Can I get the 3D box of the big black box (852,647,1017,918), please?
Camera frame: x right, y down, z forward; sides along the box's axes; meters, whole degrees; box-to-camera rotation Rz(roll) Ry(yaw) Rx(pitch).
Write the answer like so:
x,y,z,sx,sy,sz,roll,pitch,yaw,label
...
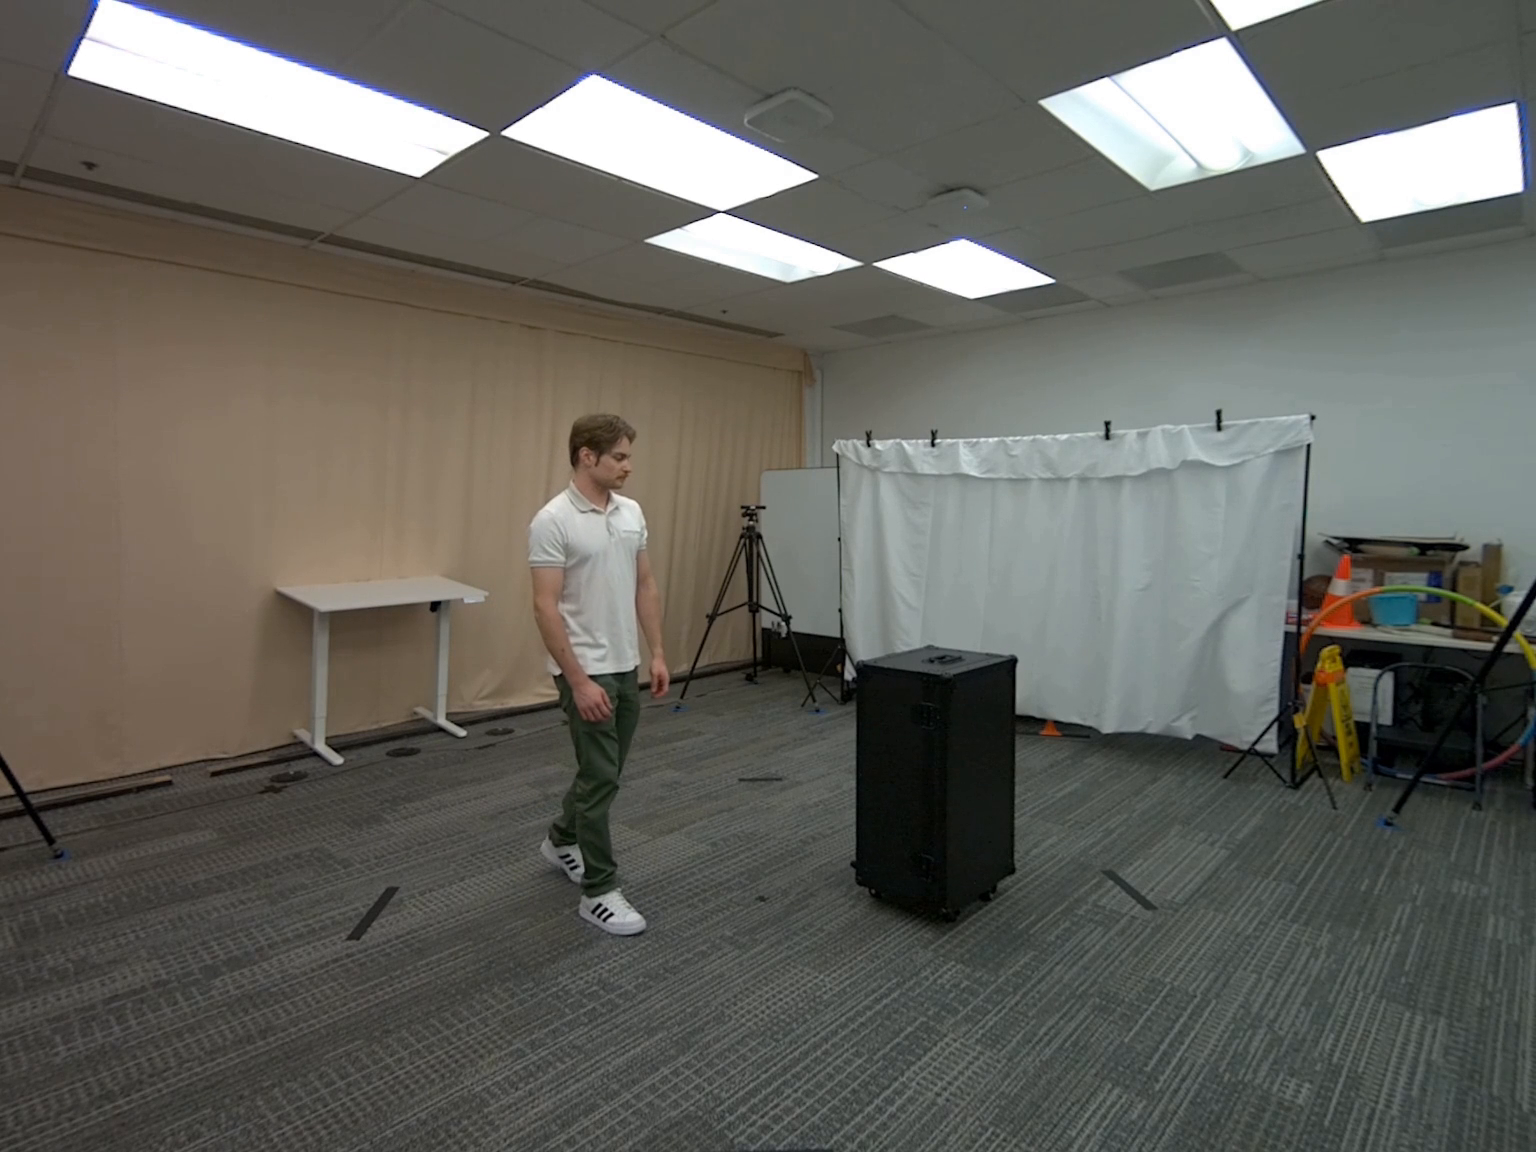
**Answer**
x,y,z,sx,sy,sz,roll,pitch,yaw,label
0.595,0.722,2.963,0.398,0.867,0.507,2,3,42,big black box
